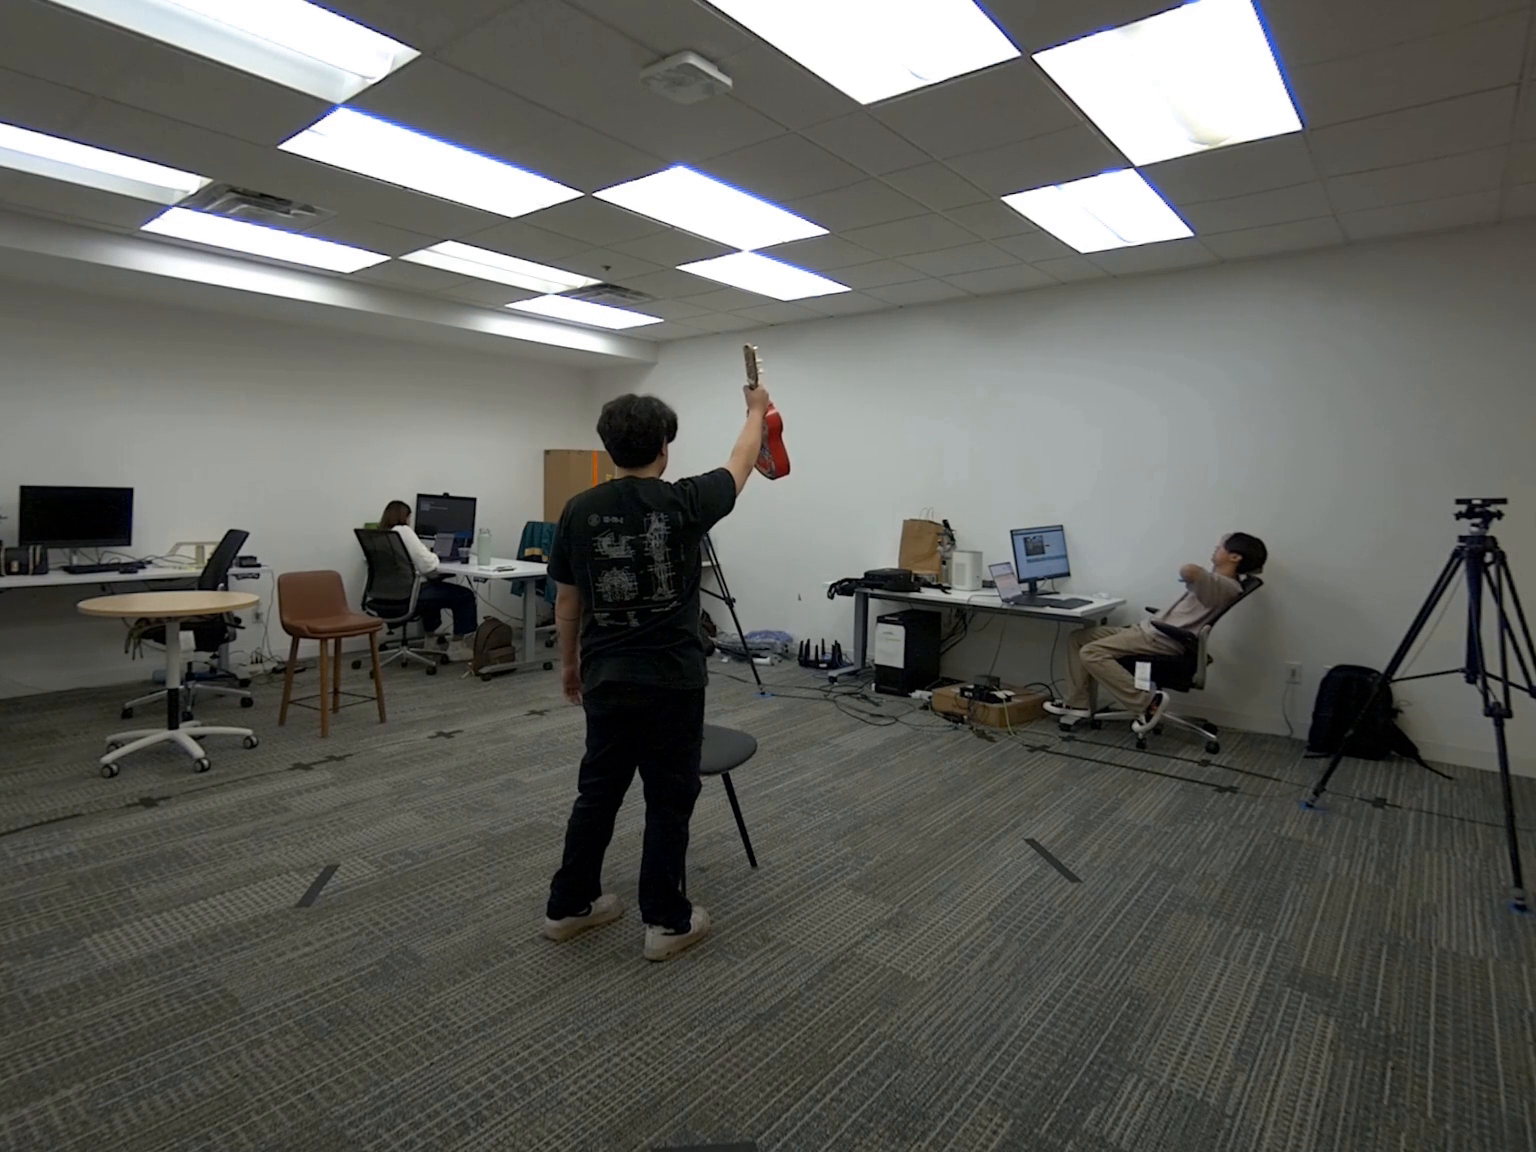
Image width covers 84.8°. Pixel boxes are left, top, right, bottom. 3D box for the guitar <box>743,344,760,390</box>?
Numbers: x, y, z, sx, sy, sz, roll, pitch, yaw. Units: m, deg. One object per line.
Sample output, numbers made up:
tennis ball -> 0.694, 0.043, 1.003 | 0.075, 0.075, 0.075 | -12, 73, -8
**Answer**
guitar -> -0.020, -0.547, 2.905 | 0.070, 0.483, 0.201 | -19, 46, -18
